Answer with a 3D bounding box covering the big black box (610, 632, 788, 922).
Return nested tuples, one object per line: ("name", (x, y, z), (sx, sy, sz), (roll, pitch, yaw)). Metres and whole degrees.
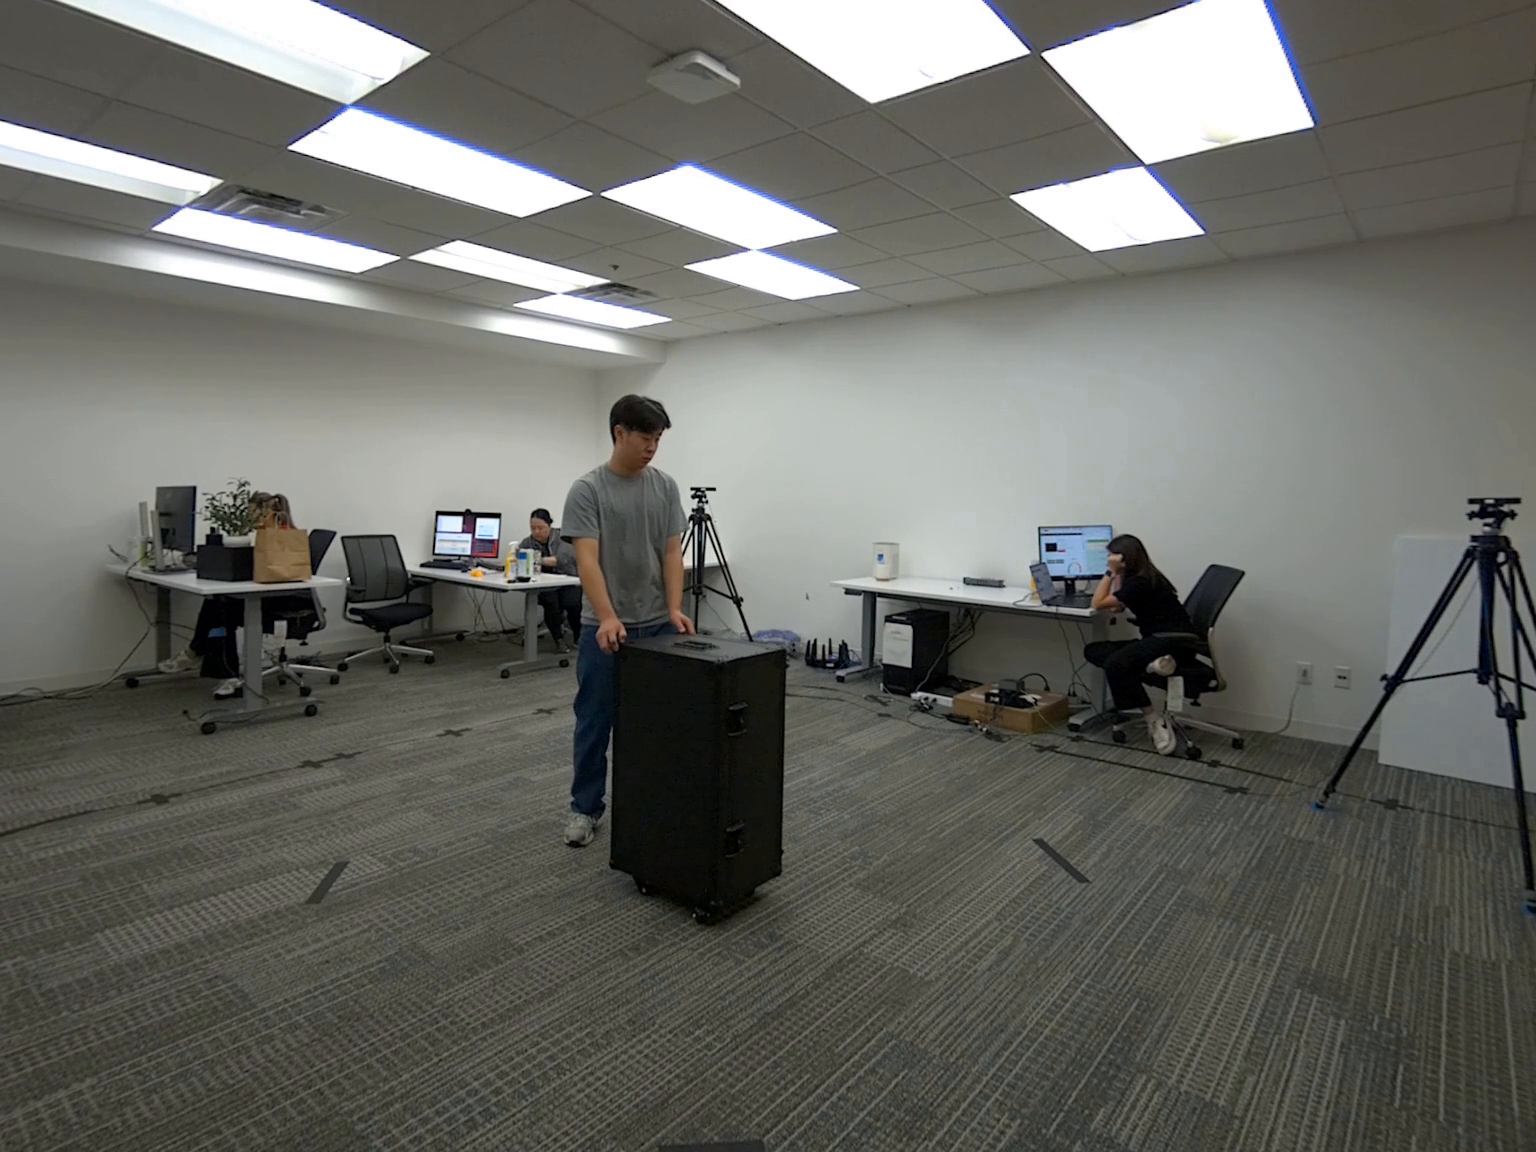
("big black box", (-0.244, 0.660, 2.919), (0.538, 0.860, 0.384), (3, 2, 39))
